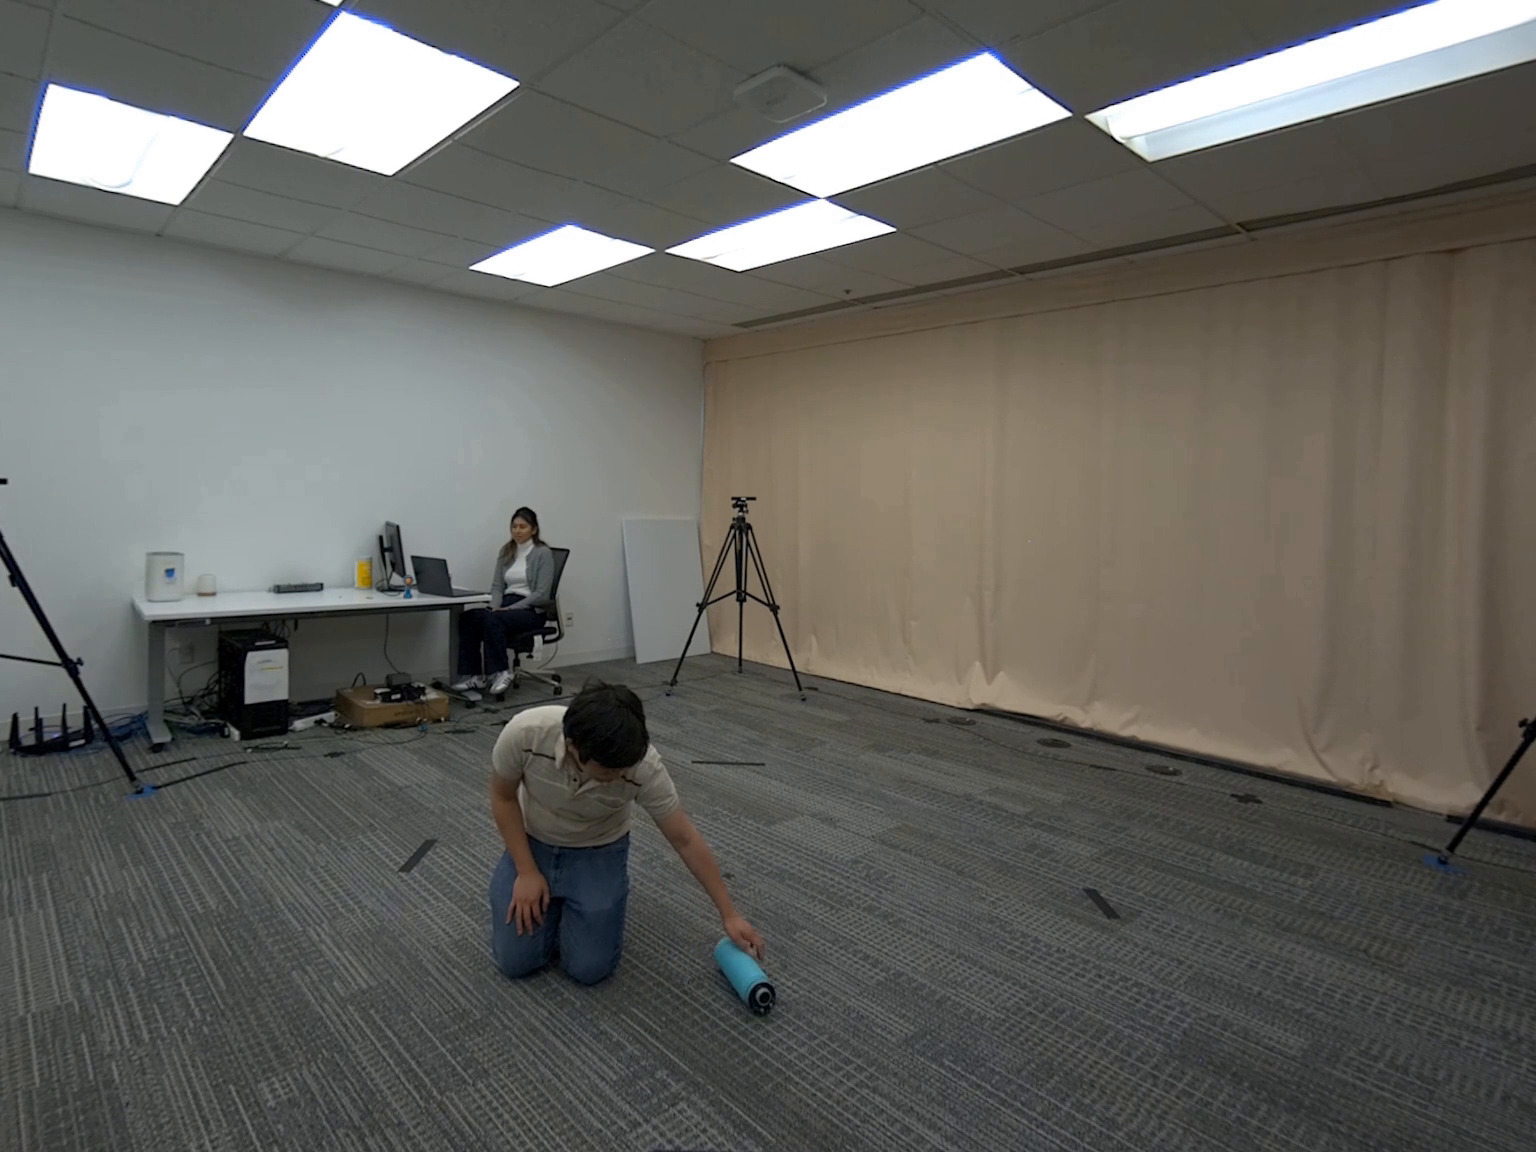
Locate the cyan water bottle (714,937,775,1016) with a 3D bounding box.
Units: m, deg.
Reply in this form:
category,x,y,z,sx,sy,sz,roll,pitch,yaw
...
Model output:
category,x,y,z,sx,sy,sz,roll,pitch,yaw
cyan water bottle,-0.071,1.130,2.363,0.091,0.092,0.289,0,5,-23
